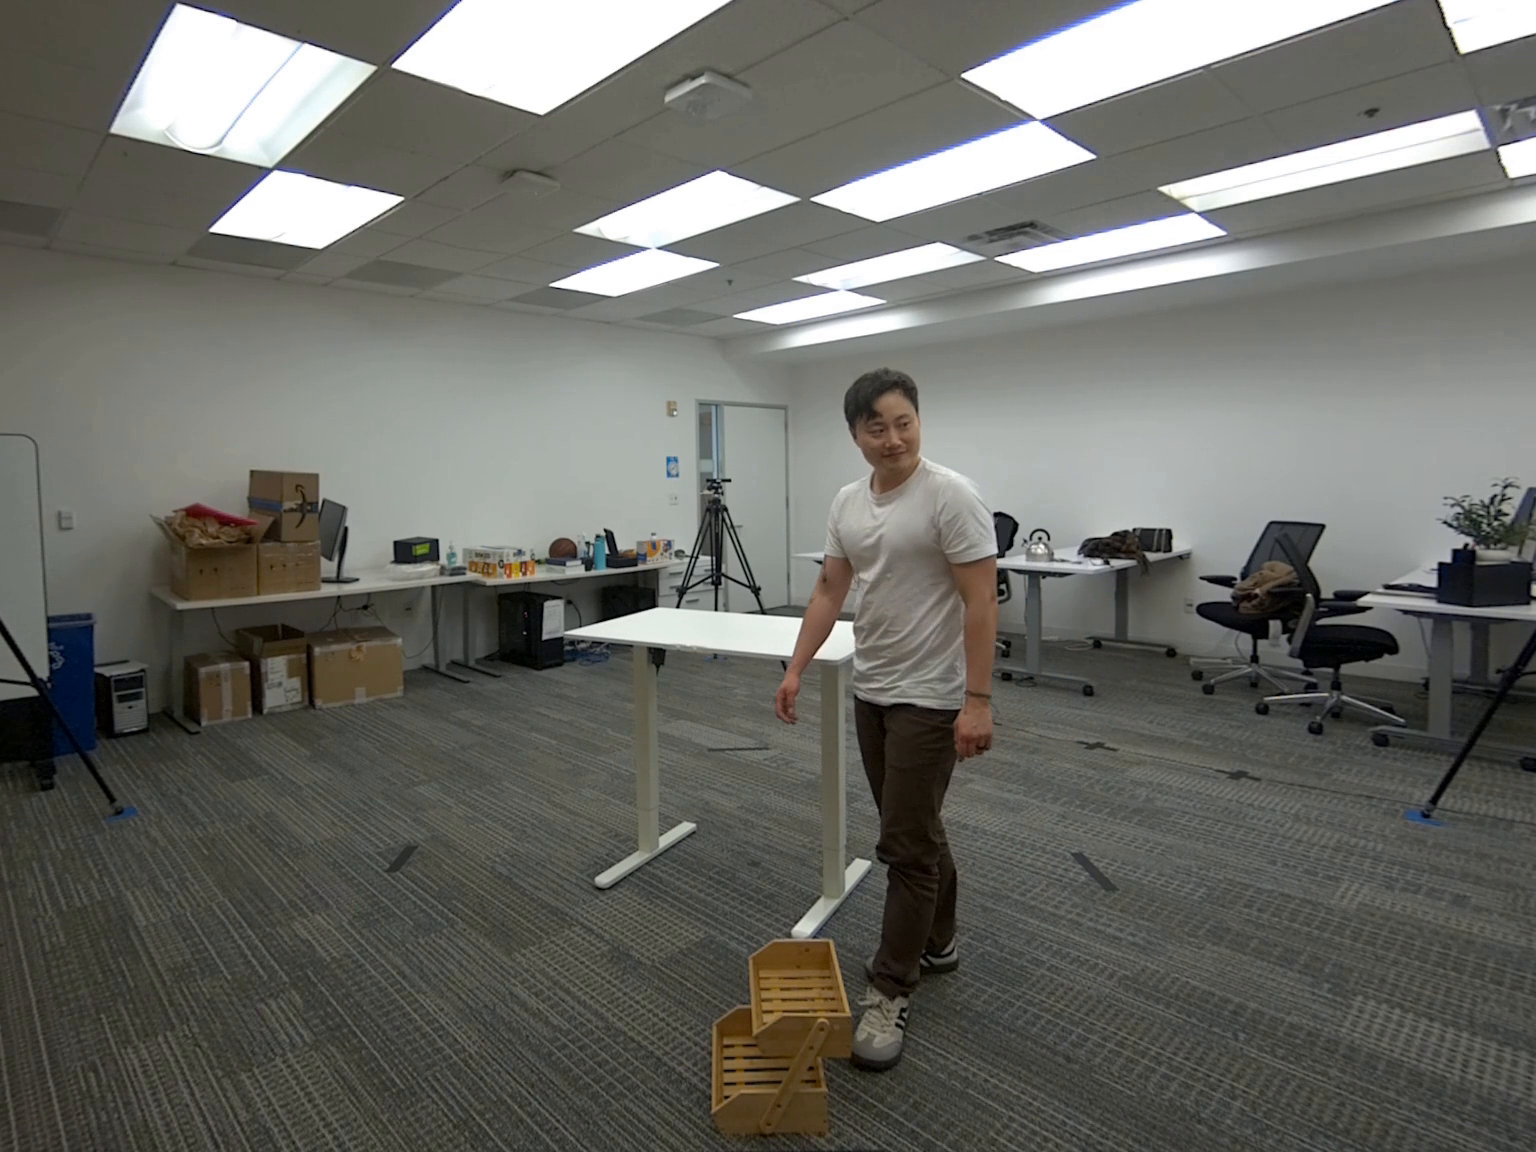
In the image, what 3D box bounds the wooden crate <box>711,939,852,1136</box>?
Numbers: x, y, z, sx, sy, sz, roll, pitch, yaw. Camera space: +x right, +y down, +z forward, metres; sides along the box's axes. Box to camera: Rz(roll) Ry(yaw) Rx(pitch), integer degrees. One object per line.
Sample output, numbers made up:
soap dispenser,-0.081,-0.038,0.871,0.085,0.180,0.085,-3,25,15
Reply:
wooden crate,0.020,1.050,1.951,0.301,0.272,0.327,-1,4,-5
